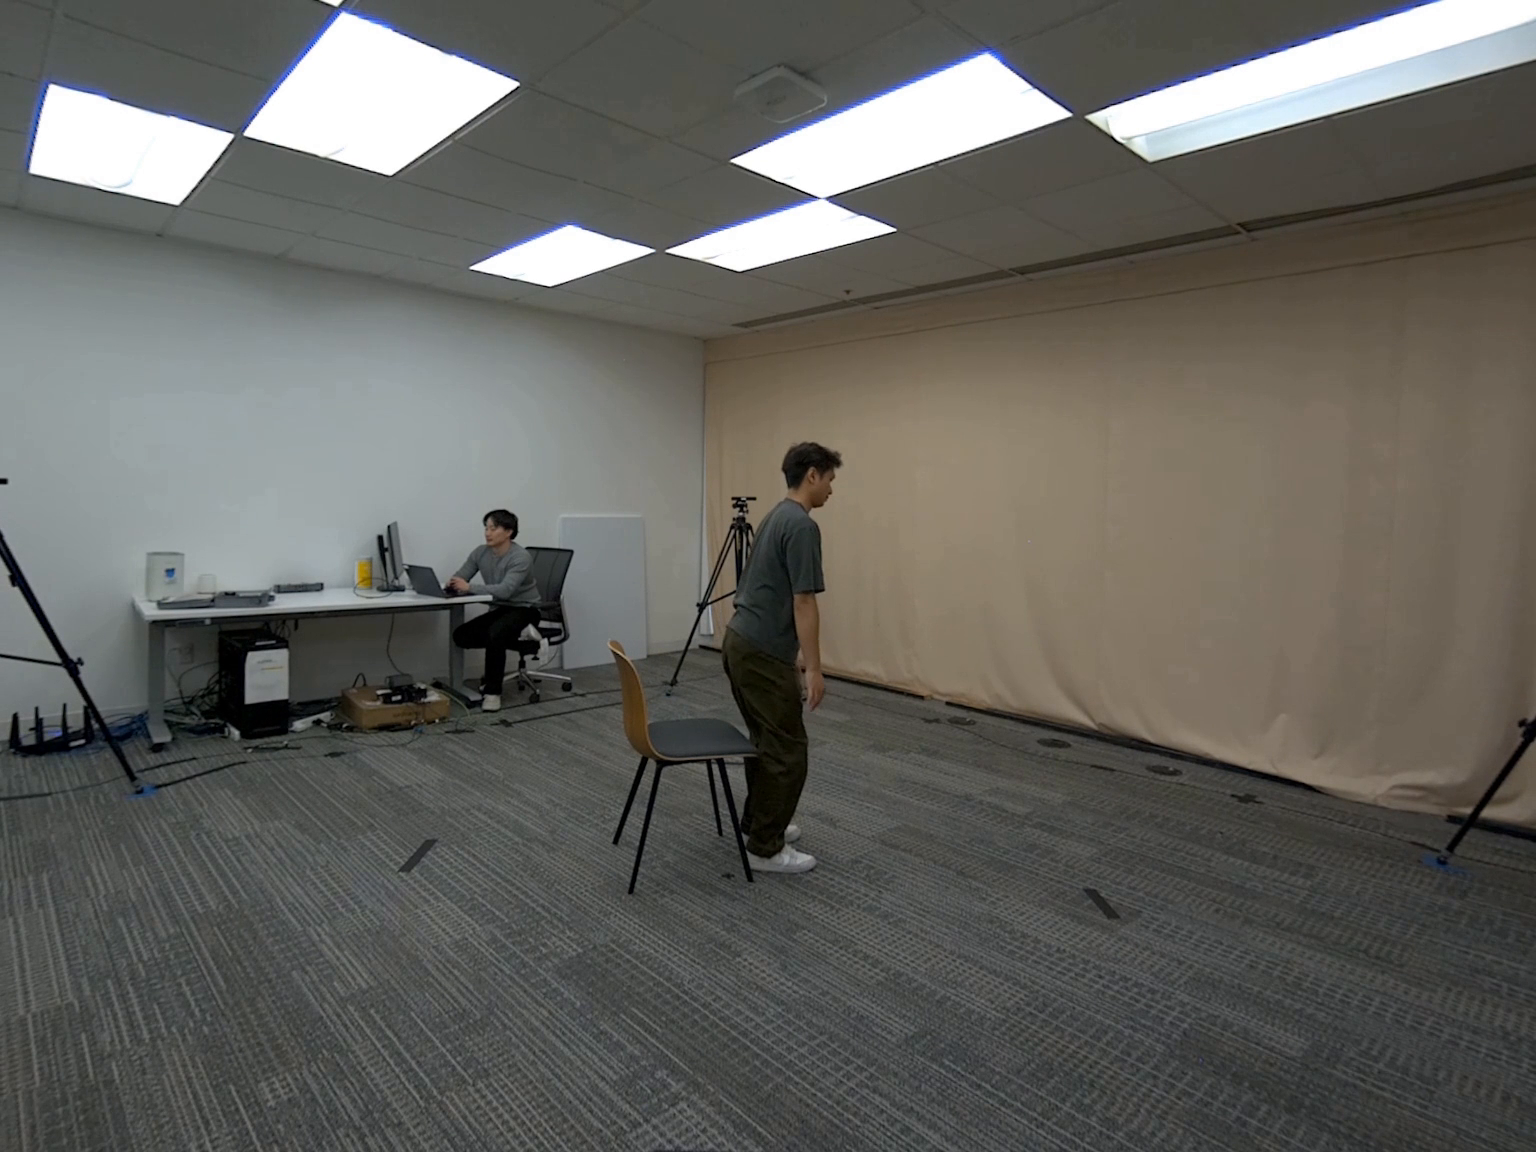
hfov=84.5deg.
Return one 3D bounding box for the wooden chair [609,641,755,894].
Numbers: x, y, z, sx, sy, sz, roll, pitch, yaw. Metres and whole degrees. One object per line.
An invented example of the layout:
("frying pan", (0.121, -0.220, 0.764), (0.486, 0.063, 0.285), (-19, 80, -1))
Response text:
("wooden chair", (-0.330, 0.669, 3.182), (0.517, 0.875, 0.485), (-3, 4, -16))
